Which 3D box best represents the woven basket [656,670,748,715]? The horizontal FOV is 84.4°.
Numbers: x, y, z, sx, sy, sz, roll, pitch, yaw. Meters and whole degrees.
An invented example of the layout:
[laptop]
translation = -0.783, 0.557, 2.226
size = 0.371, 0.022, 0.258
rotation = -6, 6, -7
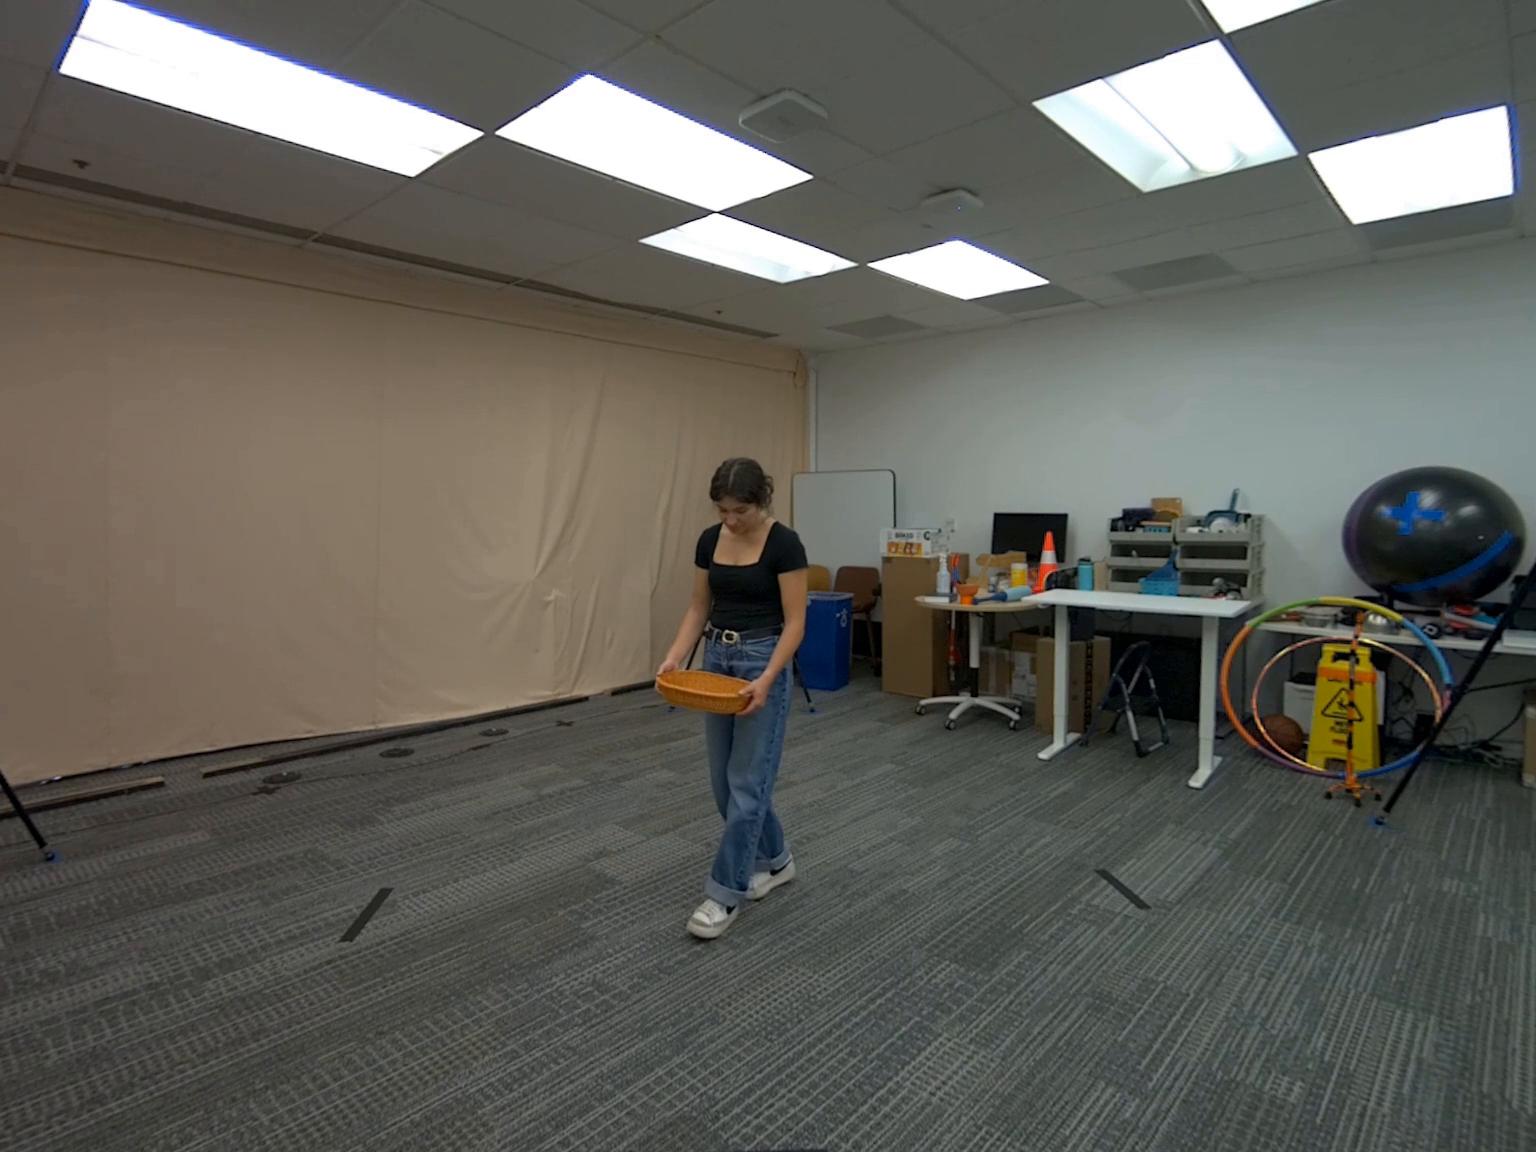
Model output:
[woven basket]
translation = -0.195, 0.376, 2.735
size = 0.362, 0.073, 0.245
rotation = 8, 9, 40
